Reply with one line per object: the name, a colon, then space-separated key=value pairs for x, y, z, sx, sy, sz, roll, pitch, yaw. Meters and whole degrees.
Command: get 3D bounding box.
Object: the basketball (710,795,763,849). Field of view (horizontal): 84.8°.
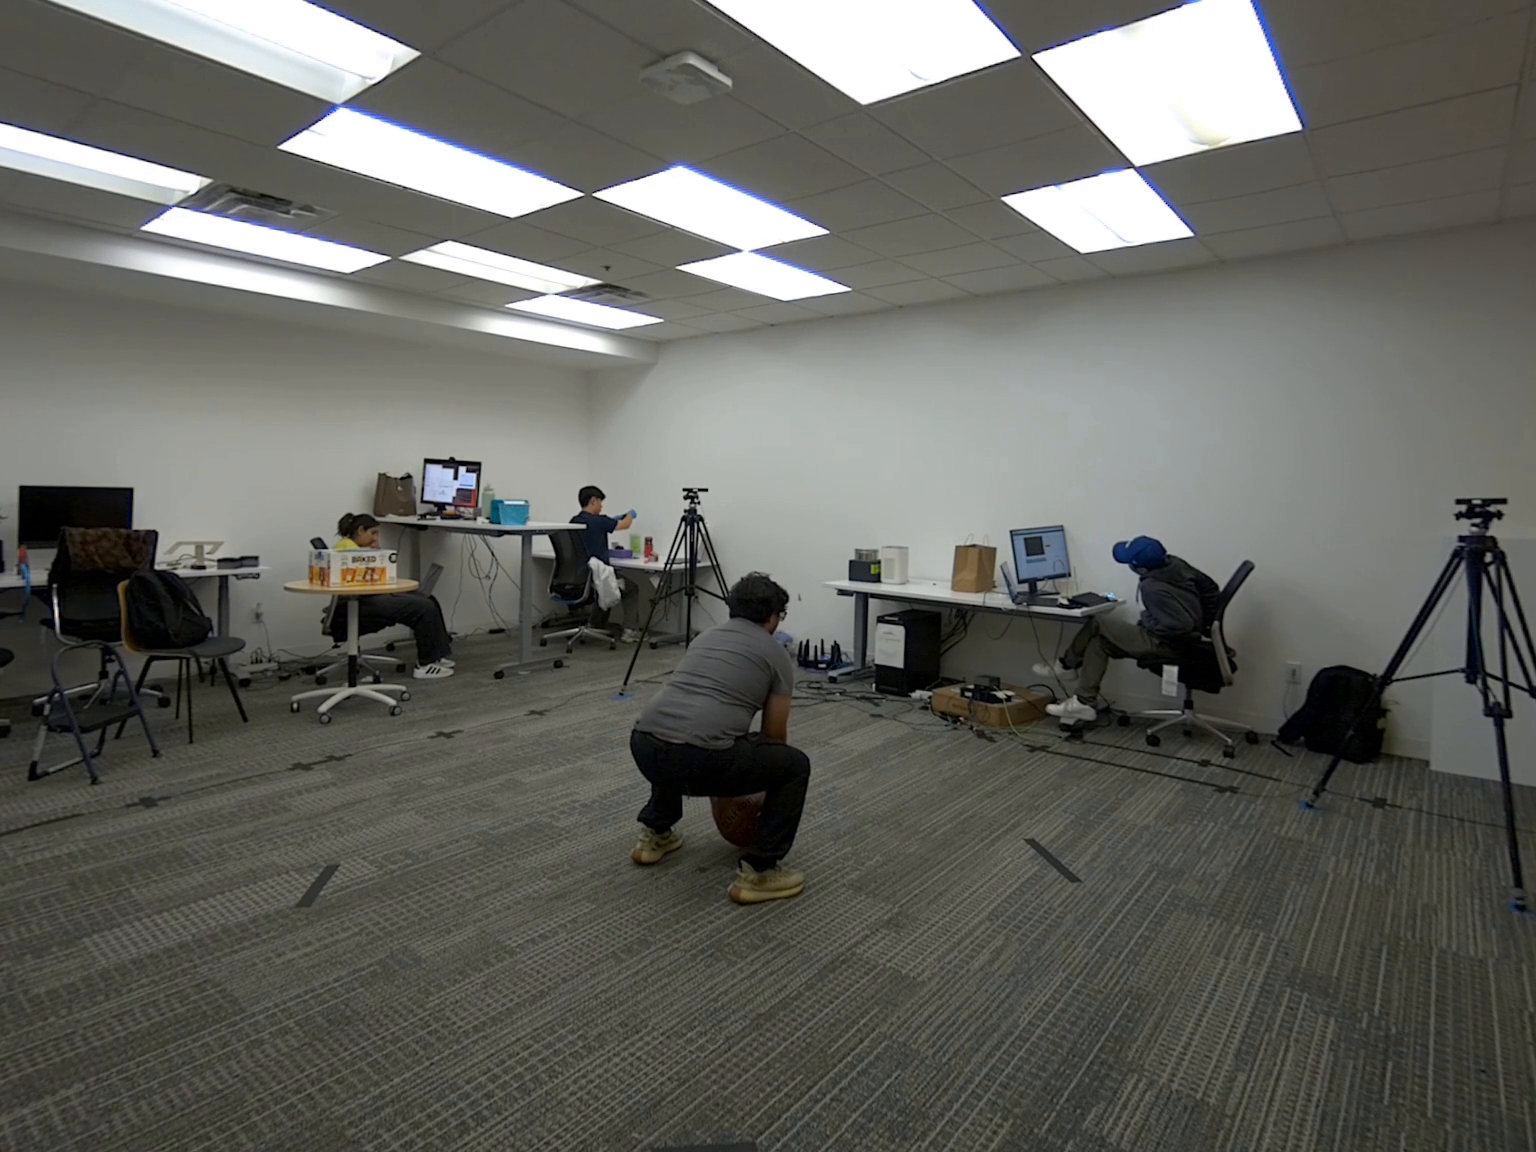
basketball: x=-0.093 y=0.917 z=3.287 sx=0.235 sy=0.235 sz=0.237 roll=1 pitch=4 yaw=-2
